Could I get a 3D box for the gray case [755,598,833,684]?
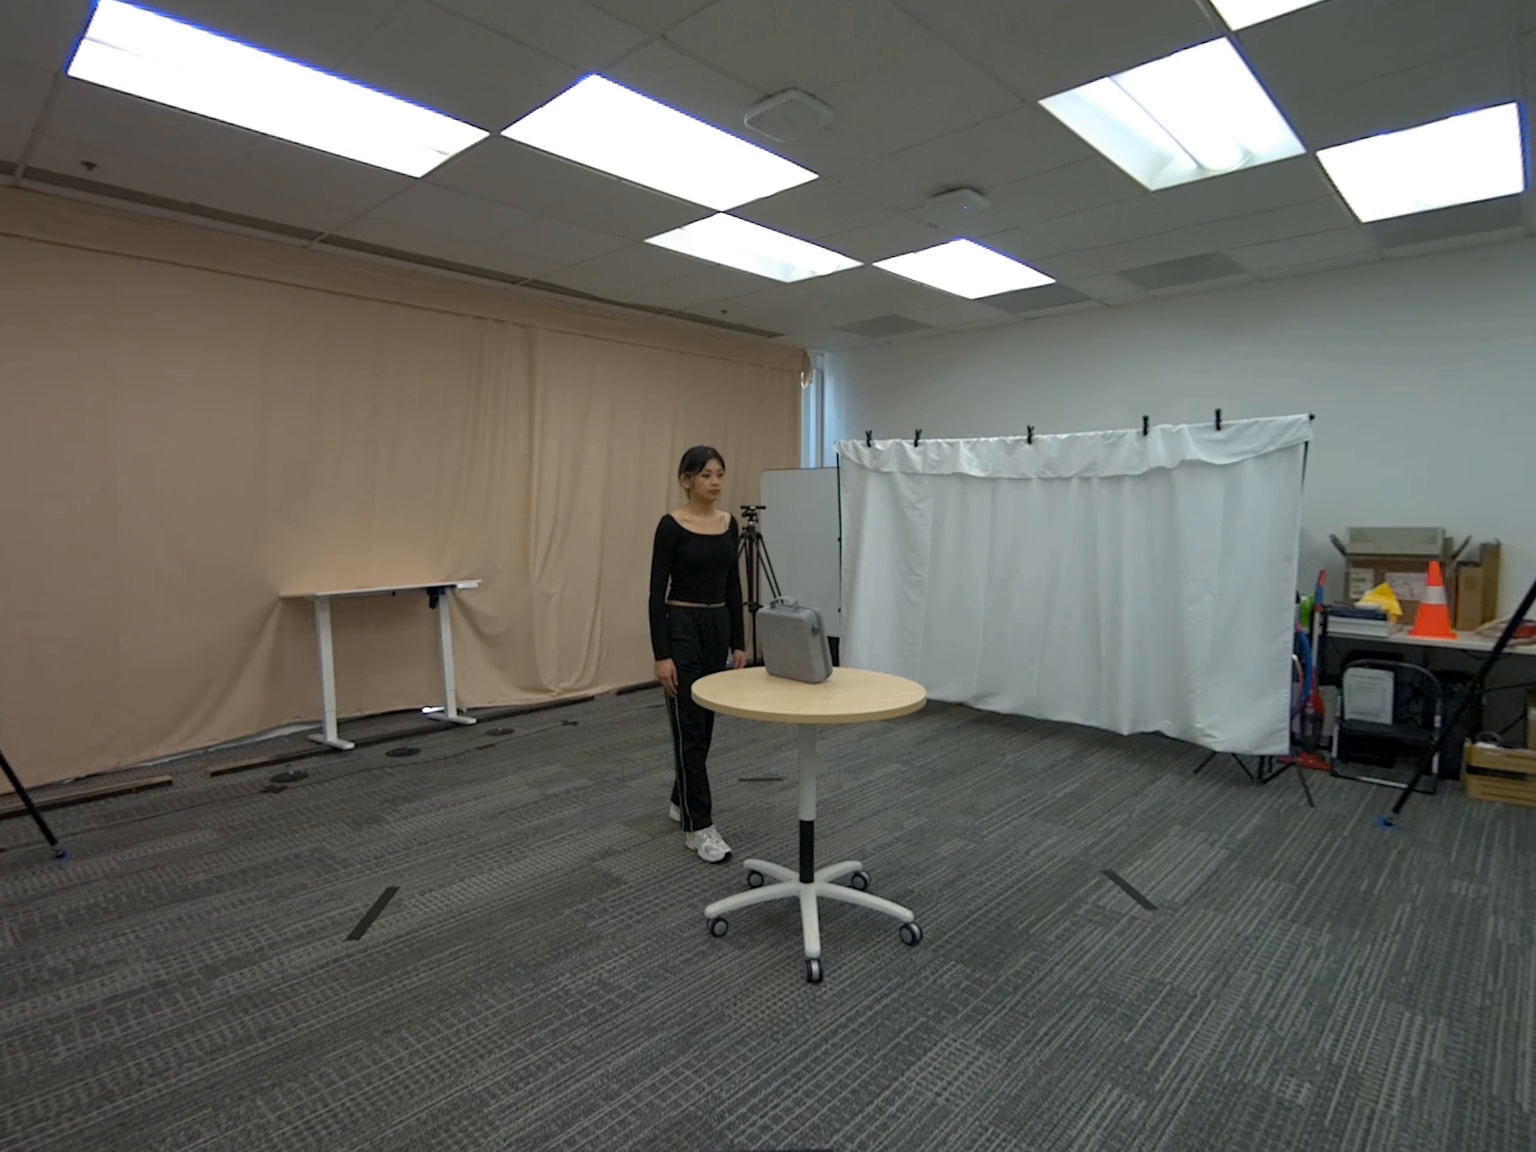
[{"bbox_3d":[0.092,0.226,2.908,0.102,0.258,0.265,-18,13,-38],"label":"gray case"}]
